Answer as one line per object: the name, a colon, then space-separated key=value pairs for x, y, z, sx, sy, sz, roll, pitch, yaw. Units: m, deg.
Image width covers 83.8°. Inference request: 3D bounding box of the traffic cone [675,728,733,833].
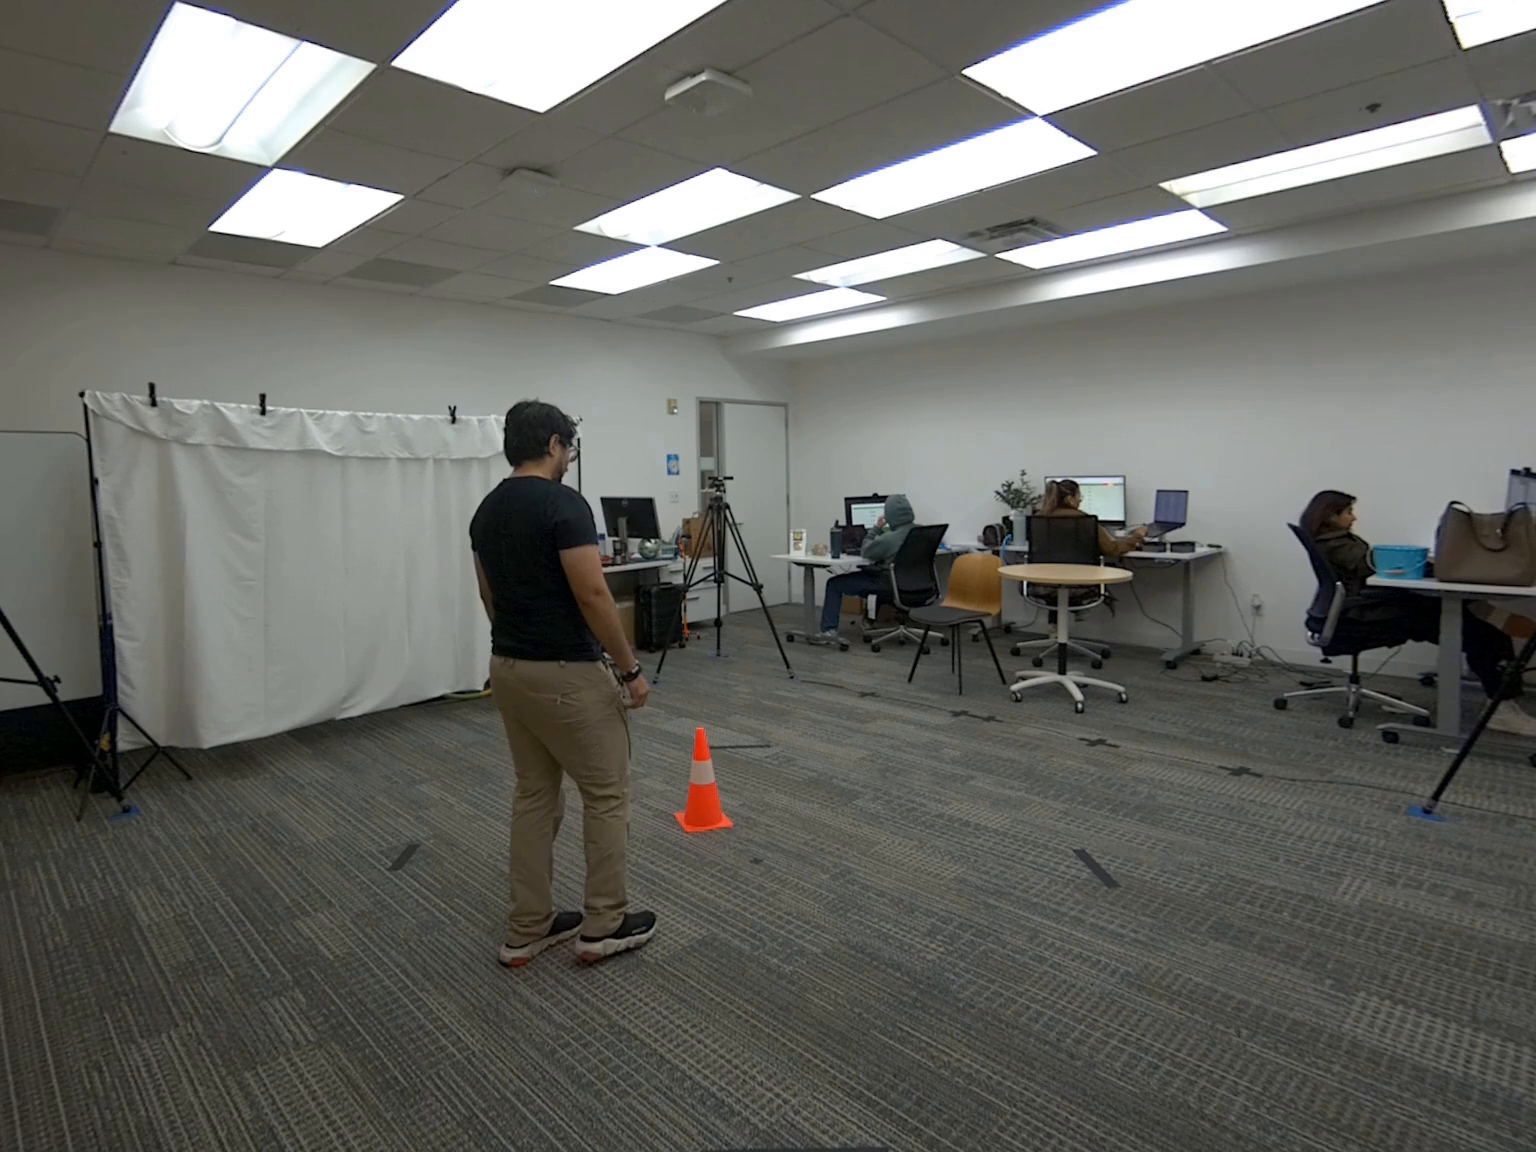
traffic cone: x=-0.272 y=0.811 z=3.478 sx=0.200 sy=0.382 sz=0.208 roll=-5 pitch=5 yaw=-28
